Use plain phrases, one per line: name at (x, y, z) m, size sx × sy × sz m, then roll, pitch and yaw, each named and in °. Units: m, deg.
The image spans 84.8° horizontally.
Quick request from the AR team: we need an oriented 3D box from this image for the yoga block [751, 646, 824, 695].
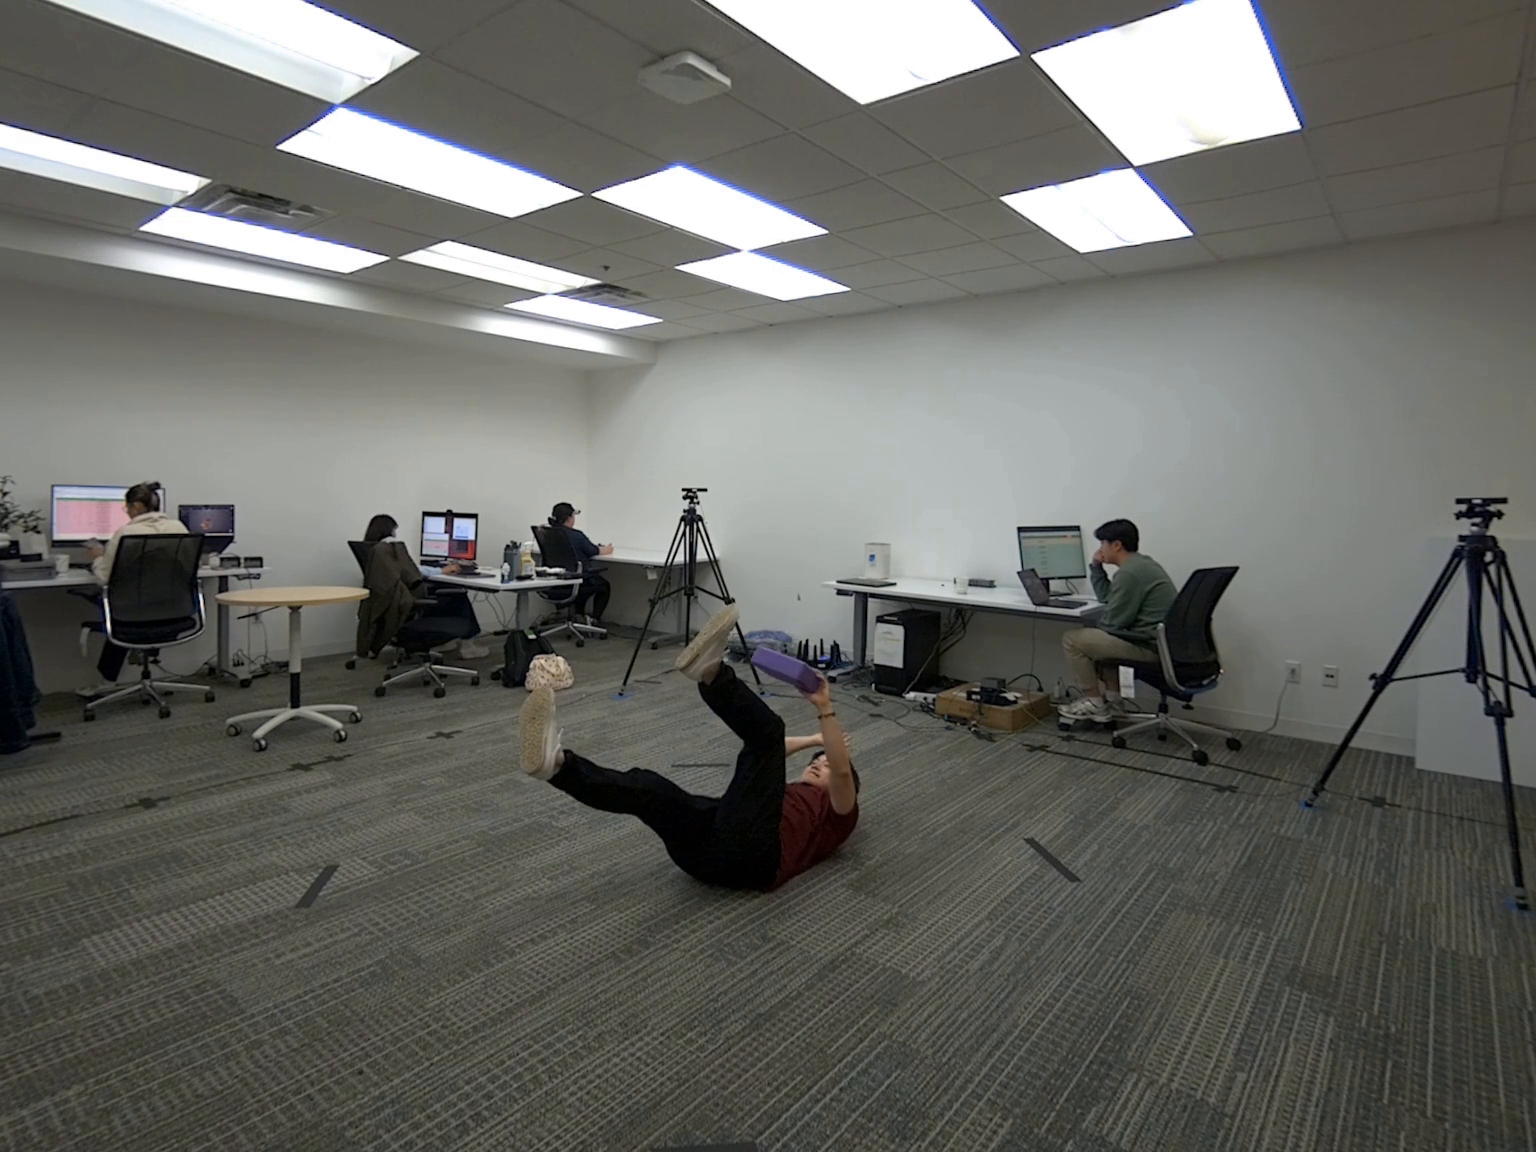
yoga block at (0.055, 0.345, 3.186) m, size 0.238 × 0.077 × 0.143 m, roll 17°, pitch -16°, yaw 37°
